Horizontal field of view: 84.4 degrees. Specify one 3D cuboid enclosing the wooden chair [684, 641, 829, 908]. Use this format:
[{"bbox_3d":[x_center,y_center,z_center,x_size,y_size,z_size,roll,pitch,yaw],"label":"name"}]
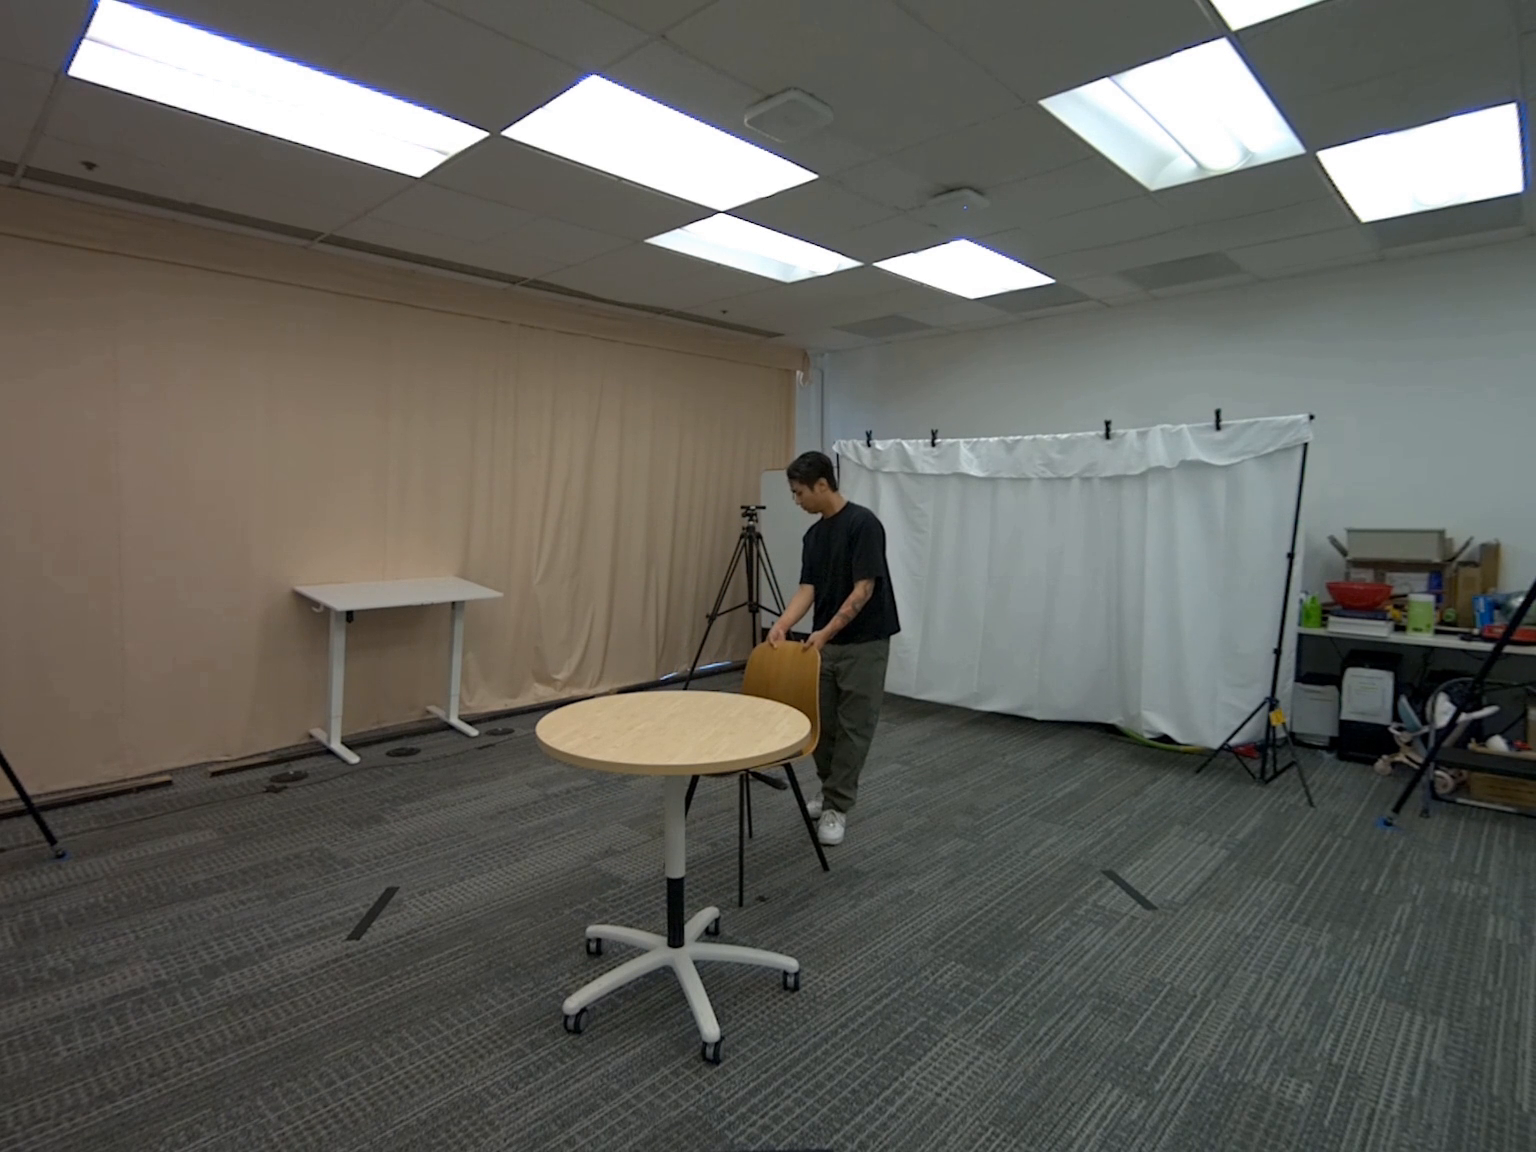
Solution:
[{"bbox_3d":[-0.090,0.699,3.193,0.506,0.877,0.494,2,1,-42],"label":"wooden chair"}]
